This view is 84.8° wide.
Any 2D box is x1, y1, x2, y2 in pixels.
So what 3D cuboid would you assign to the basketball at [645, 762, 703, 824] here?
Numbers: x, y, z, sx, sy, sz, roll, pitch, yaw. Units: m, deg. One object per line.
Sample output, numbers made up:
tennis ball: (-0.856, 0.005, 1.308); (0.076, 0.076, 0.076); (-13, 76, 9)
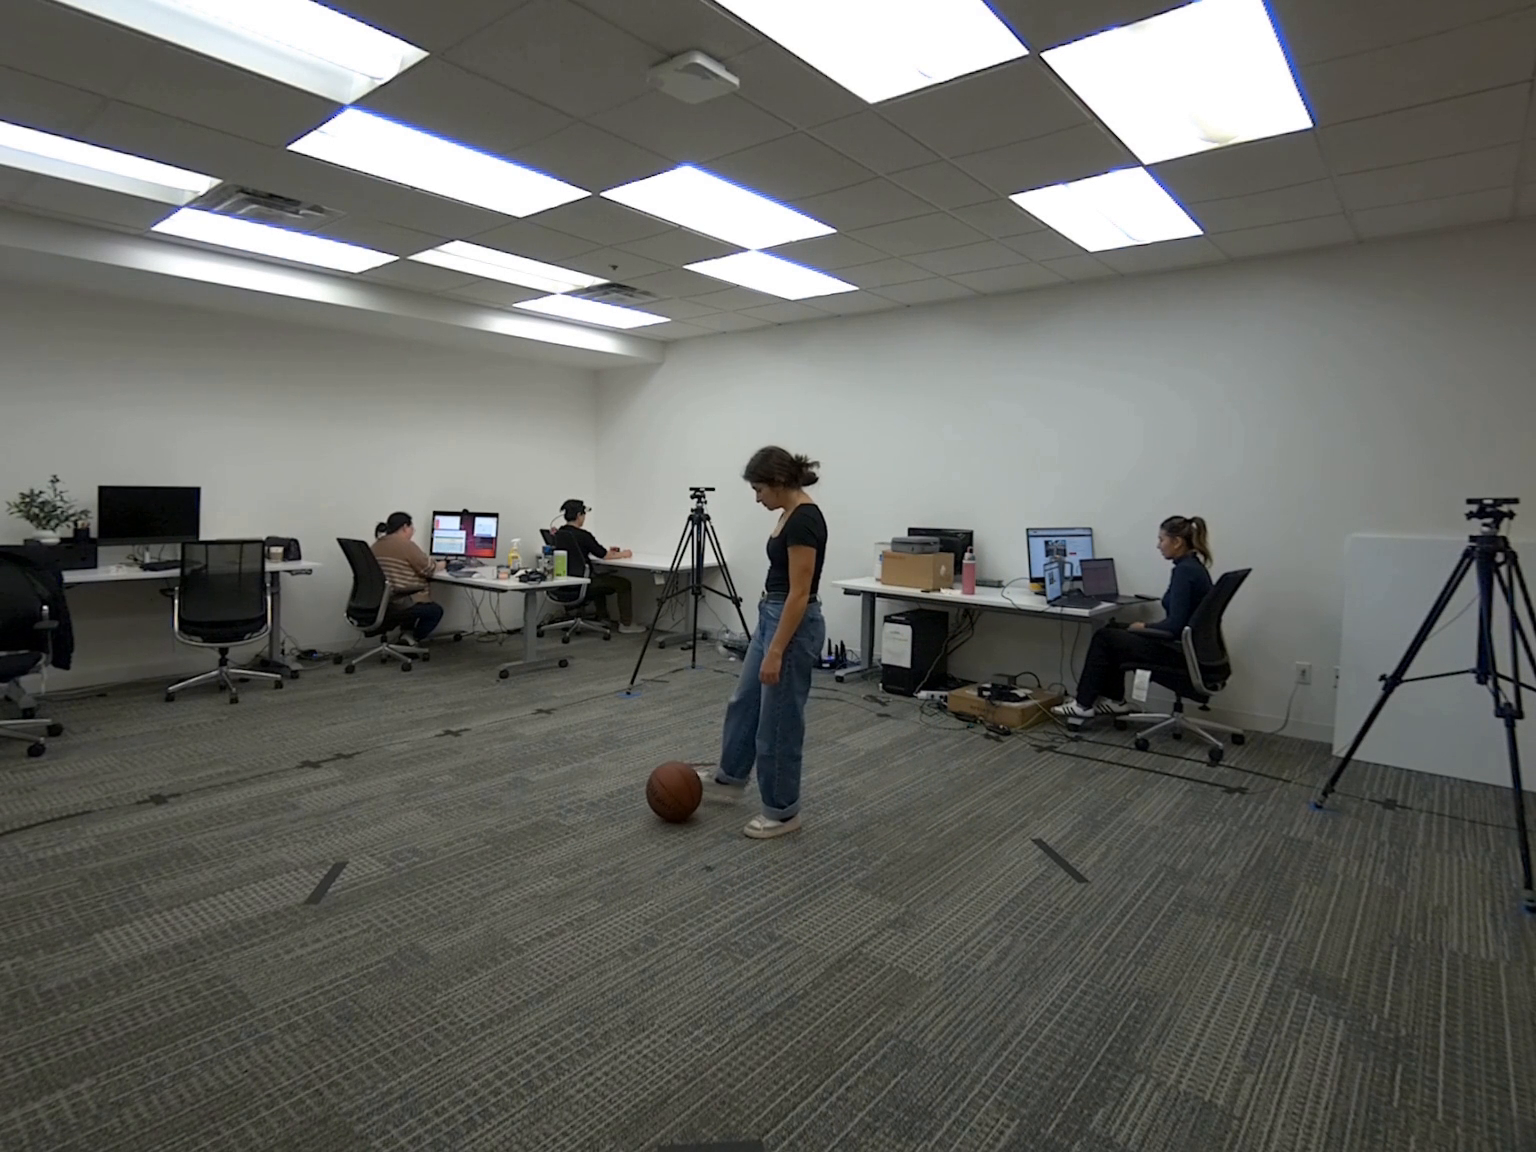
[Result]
basketball: (-0.403, 0.895, 3.568); (0.235, 0.235, 0.237); (1, 4, -2)
